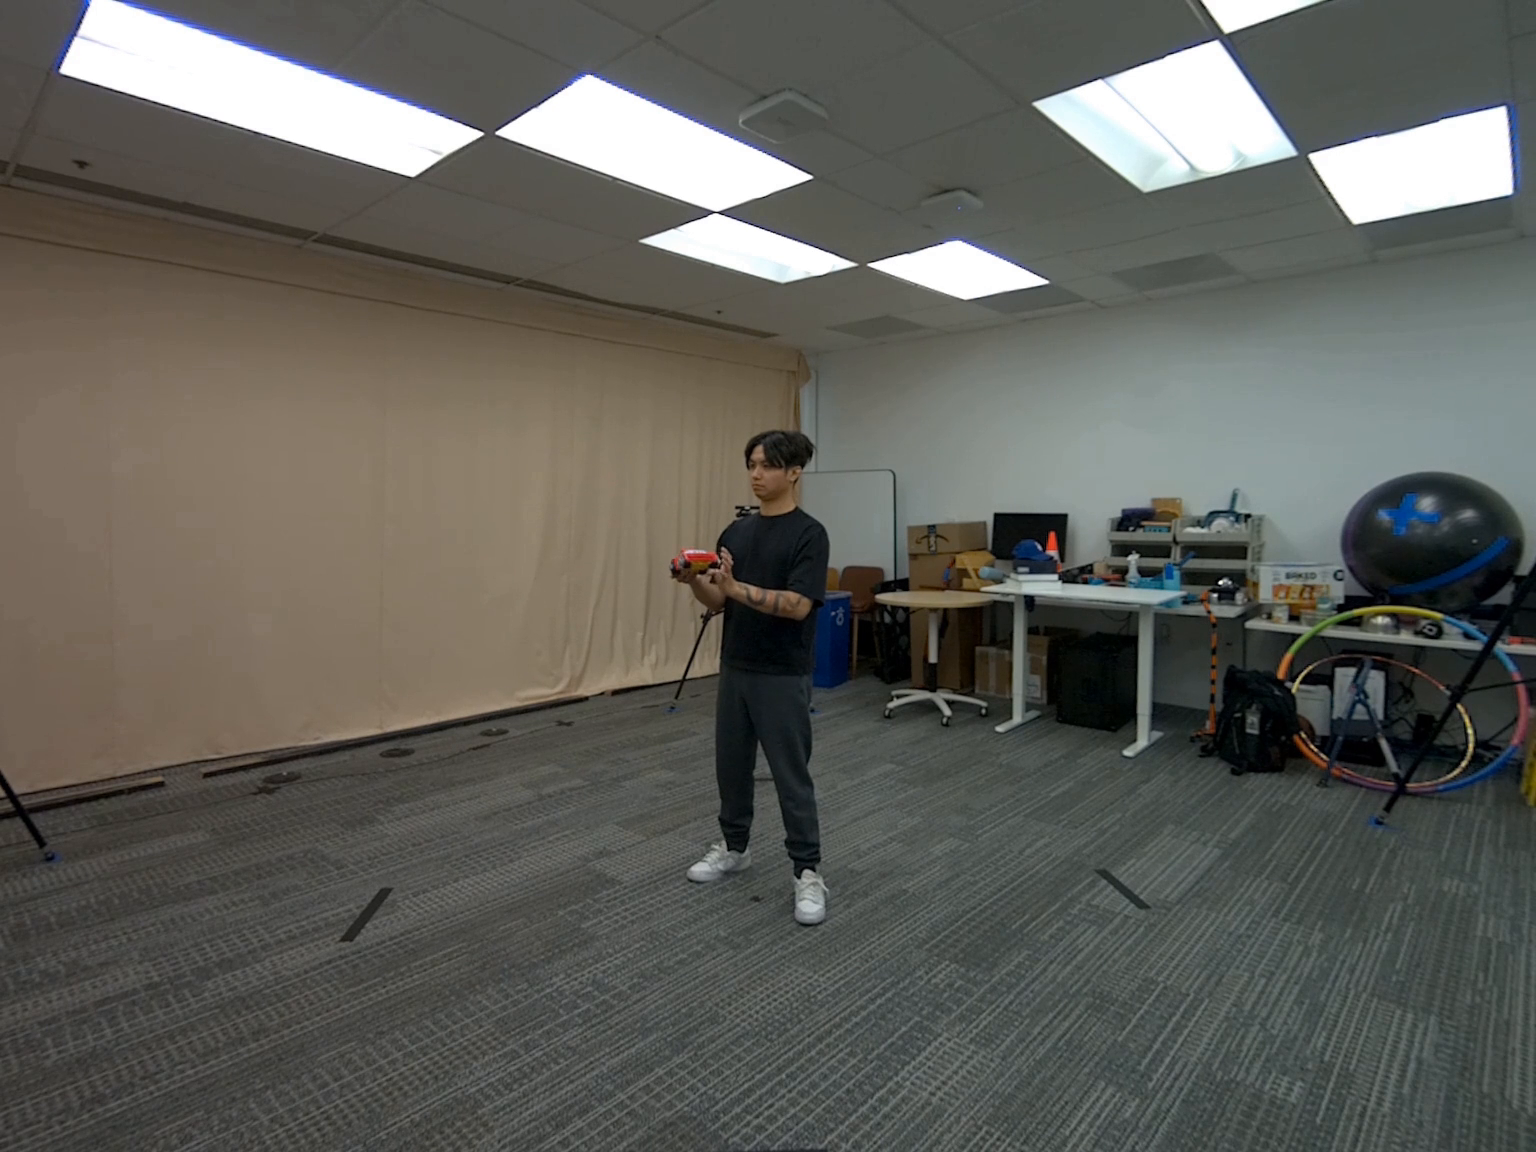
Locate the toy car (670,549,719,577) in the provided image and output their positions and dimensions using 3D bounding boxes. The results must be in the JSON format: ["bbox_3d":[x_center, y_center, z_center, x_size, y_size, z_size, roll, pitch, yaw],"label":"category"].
[{"bbox_3d":[-0.241,-0.041,2.705,0.128,0.083,0.259,2,3,-14],"label":"toy car"}]
